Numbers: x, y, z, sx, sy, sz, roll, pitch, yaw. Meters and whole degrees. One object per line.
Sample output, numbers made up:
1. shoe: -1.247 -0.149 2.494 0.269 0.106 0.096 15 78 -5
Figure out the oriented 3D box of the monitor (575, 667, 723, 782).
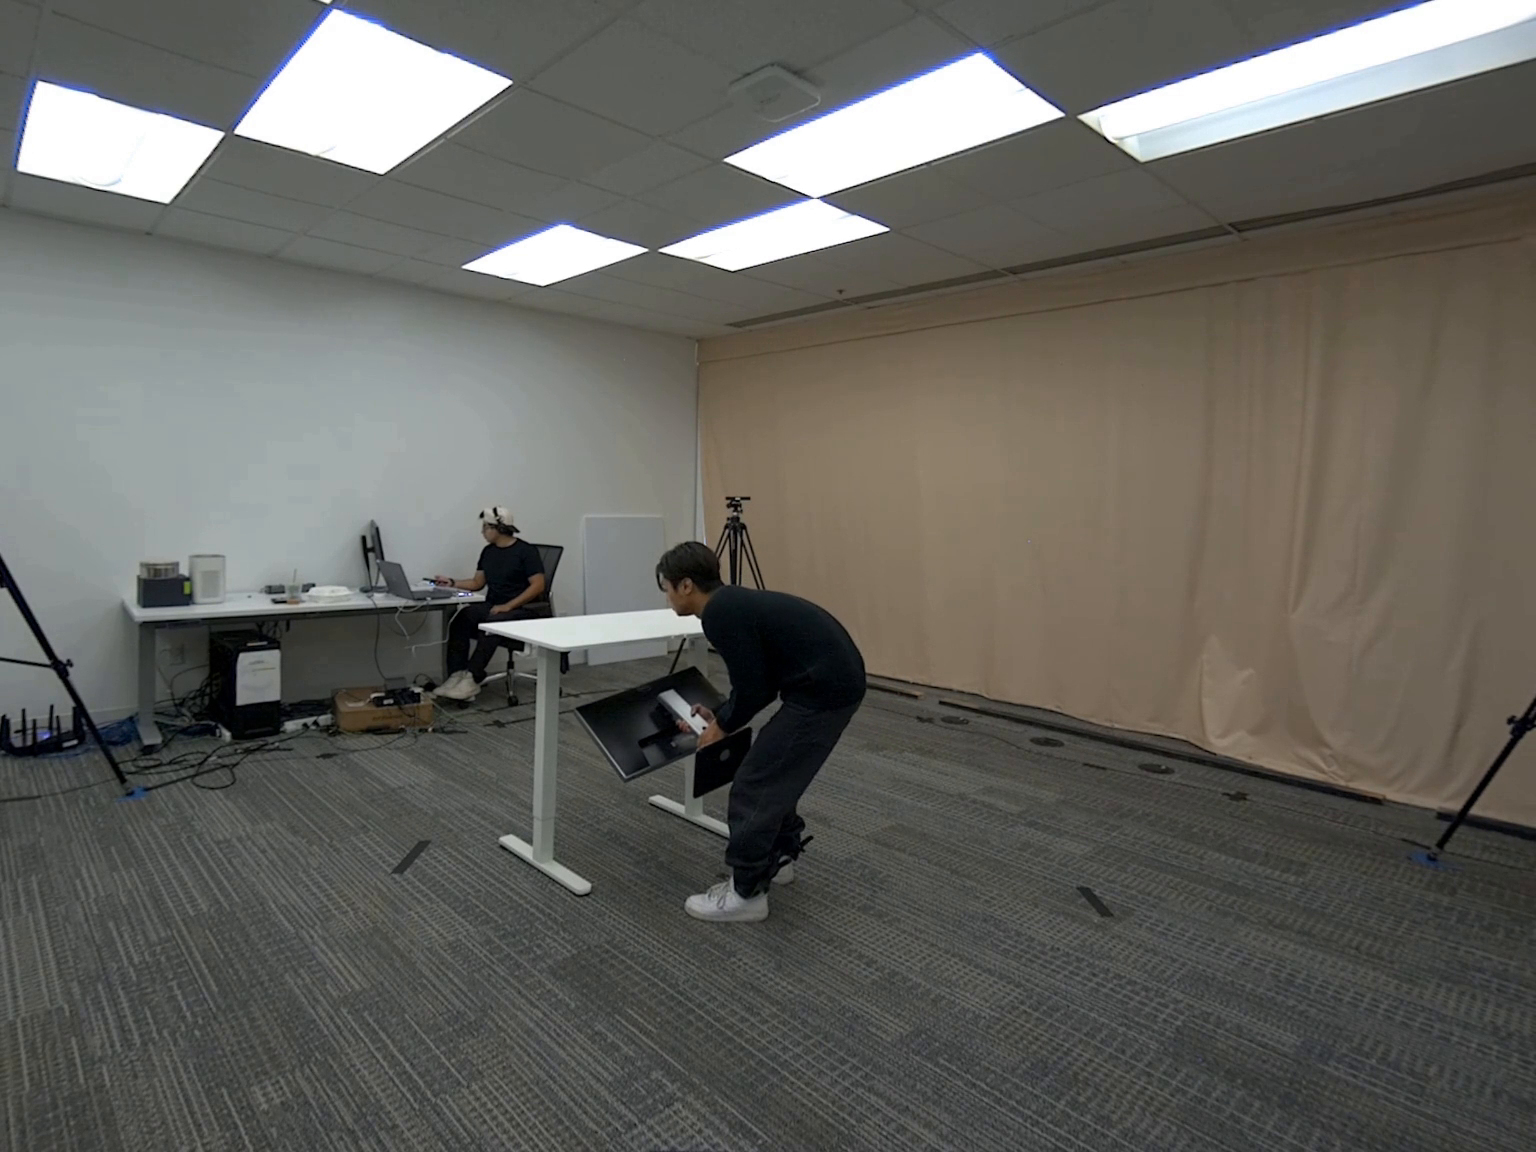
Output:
1. monitor: -0.332 0.546 3.071 0.521 0.172 0.532 -17 29 -39
